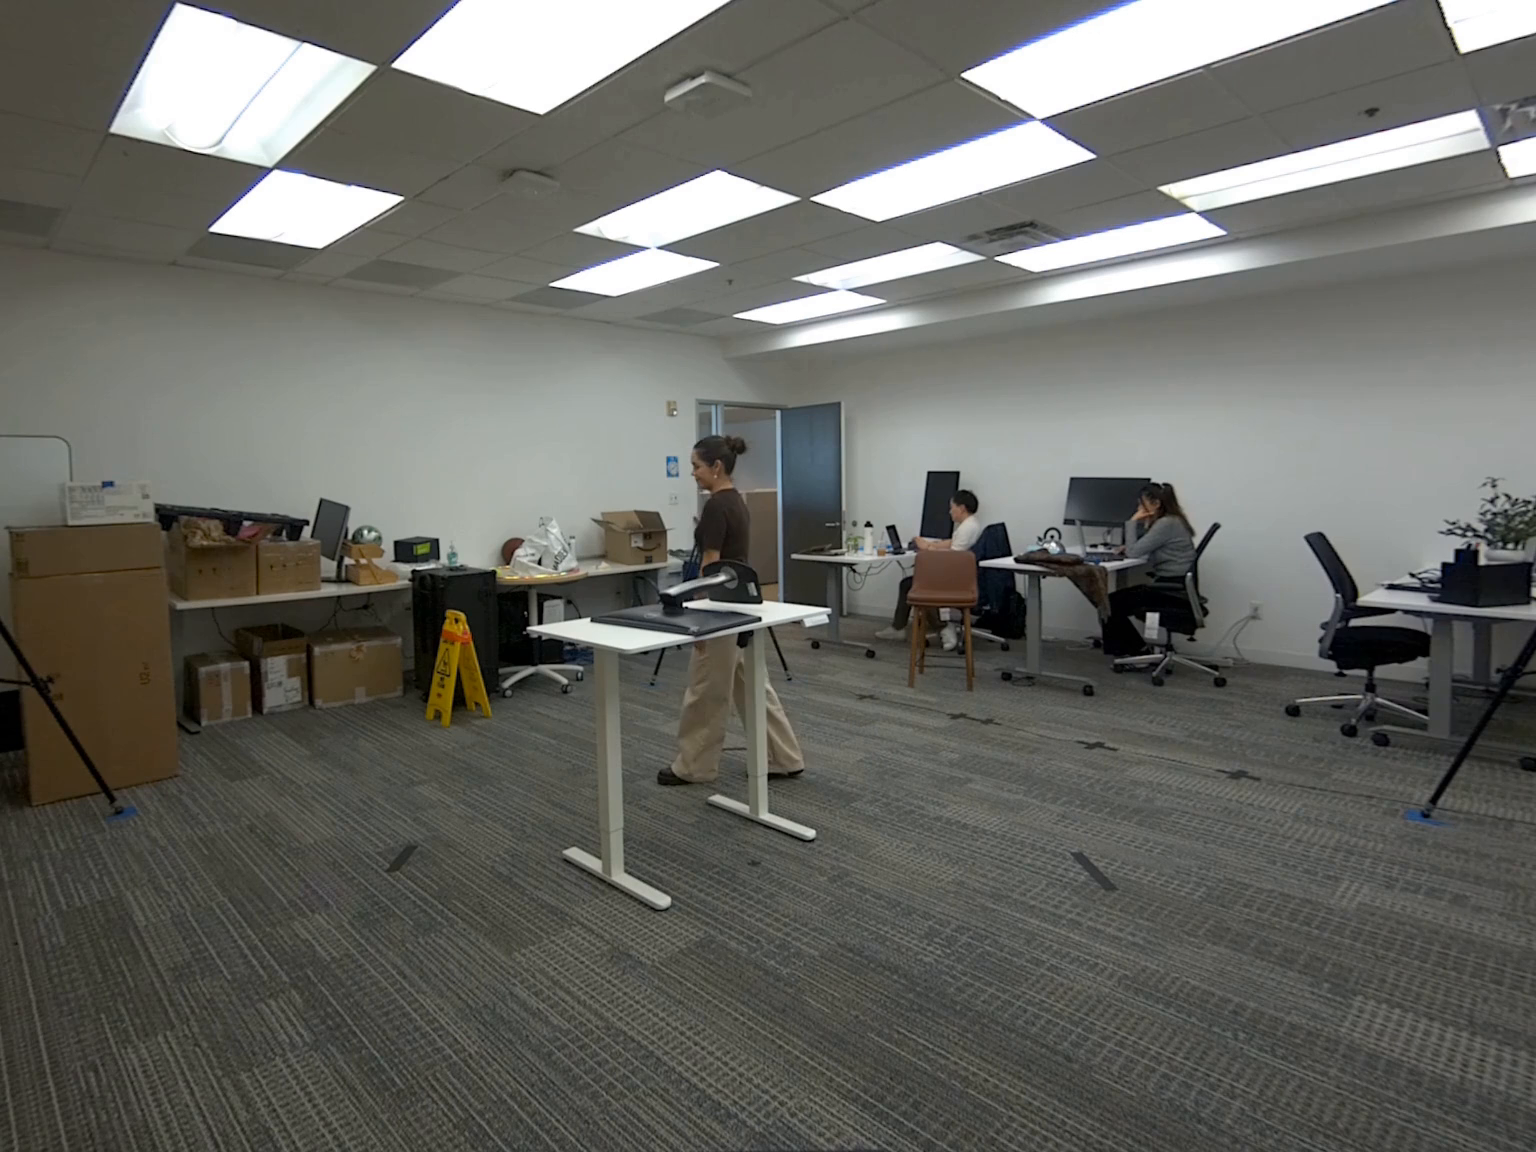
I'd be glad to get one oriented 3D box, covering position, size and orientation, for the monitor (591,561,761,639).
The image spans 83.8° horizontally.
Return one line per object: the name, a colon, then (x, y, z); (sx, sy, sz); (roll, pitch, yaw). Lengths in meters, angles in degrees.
monitor: (-0.282, 0.107, 3.167); (0.555, 0.184, 0.515); (1, 20, 41)
